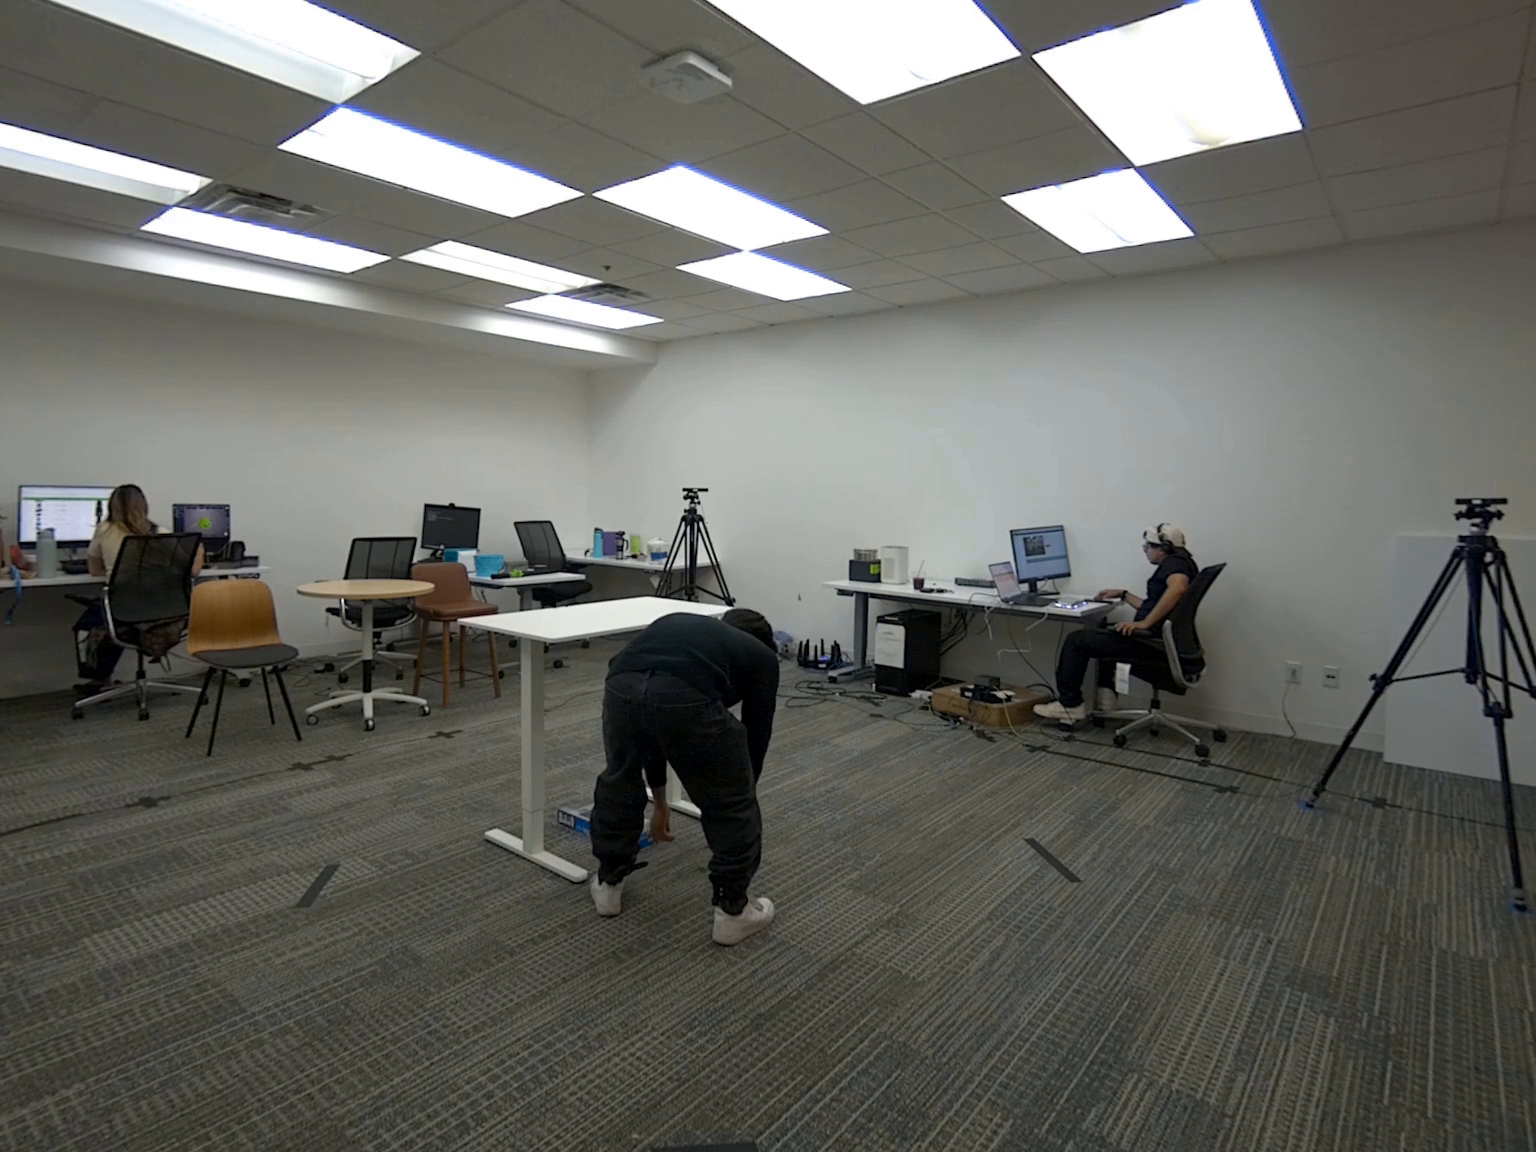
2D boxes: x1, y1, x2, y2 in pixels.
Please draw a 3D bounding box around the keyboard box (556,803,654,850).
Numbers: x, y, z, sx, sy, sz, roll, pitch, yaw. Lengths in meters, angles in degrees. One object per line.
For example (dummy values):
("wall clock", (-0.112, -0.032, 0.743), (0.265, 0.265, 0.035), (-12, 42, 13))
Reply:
("keyboard box", (-0.651, 0.998, 3.442), (0.451, 0.059, 0.171), (6, 7, 38))
